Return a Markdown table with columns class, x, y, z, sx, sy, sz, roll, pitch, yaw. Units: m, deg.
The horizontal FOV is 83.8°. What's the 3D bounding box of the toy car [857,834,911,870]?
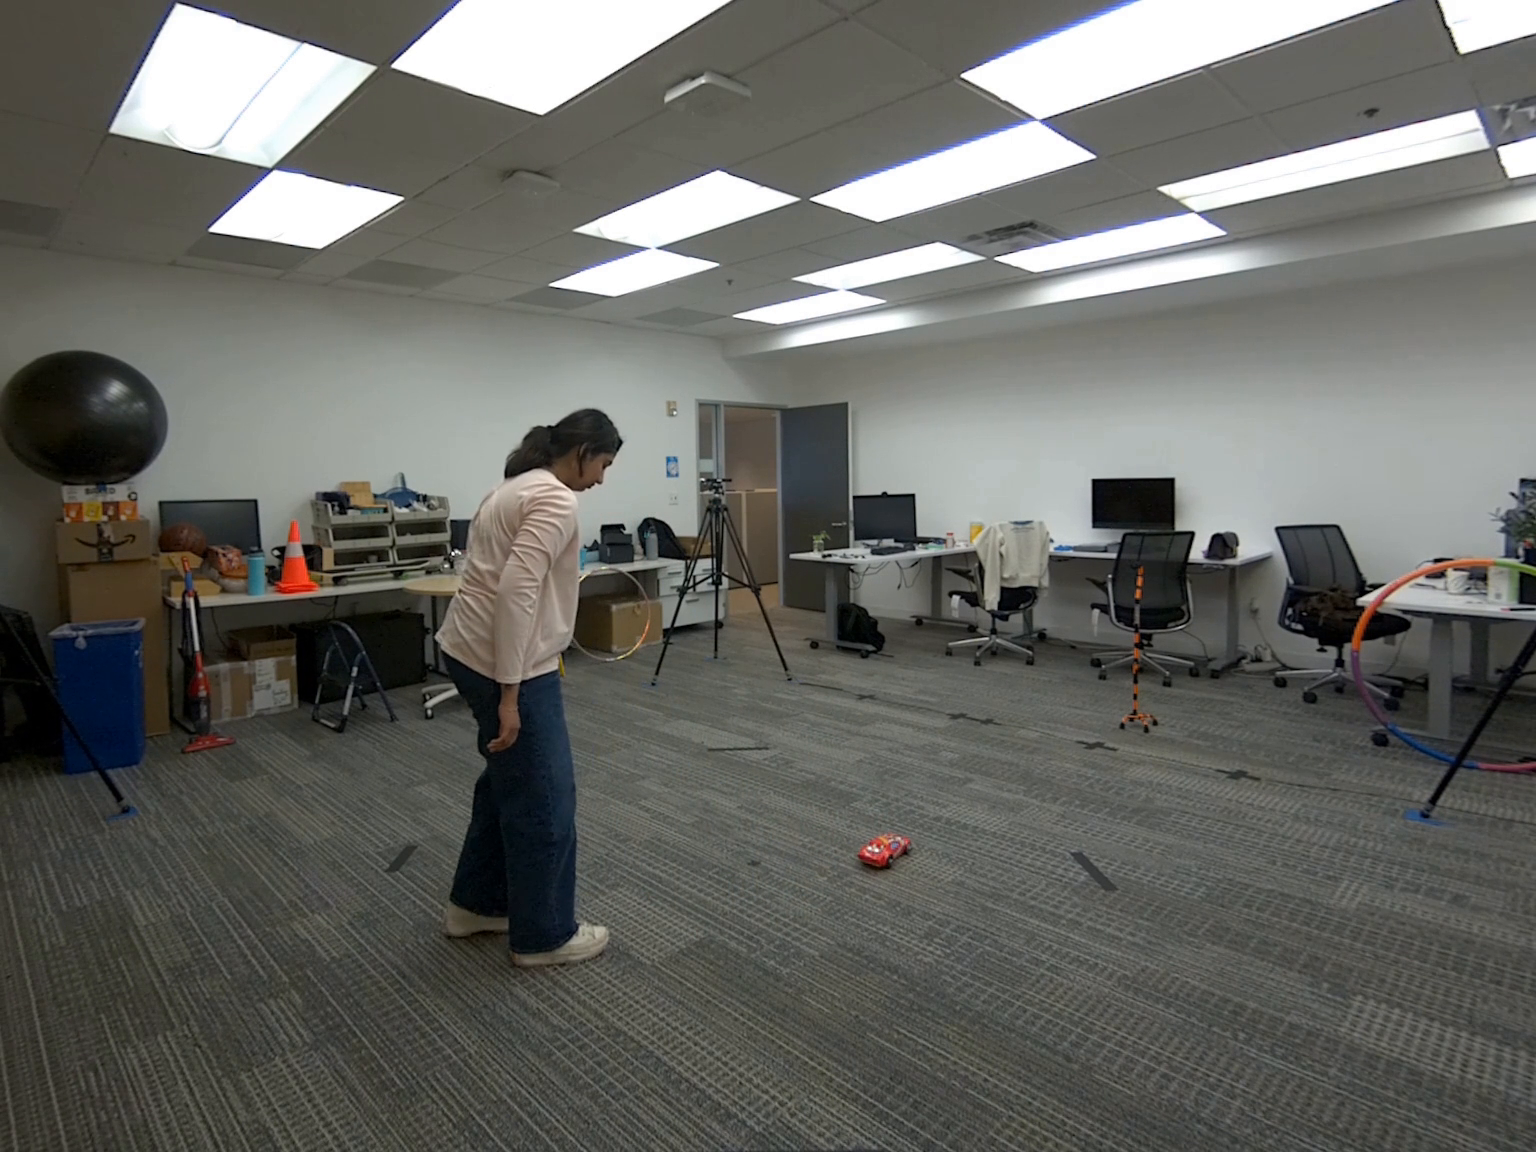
| class | x | y | z | sx | sy | sz | roll | pitch | yaw |
| --- | --- | --- | --- | --- | --- | --- | --- | --- | --- |
| toy car | 0.426 | 1.001 | 3.117 | 0.134 | 0.083 | 0.246 | 3 | -4 | 38 |
